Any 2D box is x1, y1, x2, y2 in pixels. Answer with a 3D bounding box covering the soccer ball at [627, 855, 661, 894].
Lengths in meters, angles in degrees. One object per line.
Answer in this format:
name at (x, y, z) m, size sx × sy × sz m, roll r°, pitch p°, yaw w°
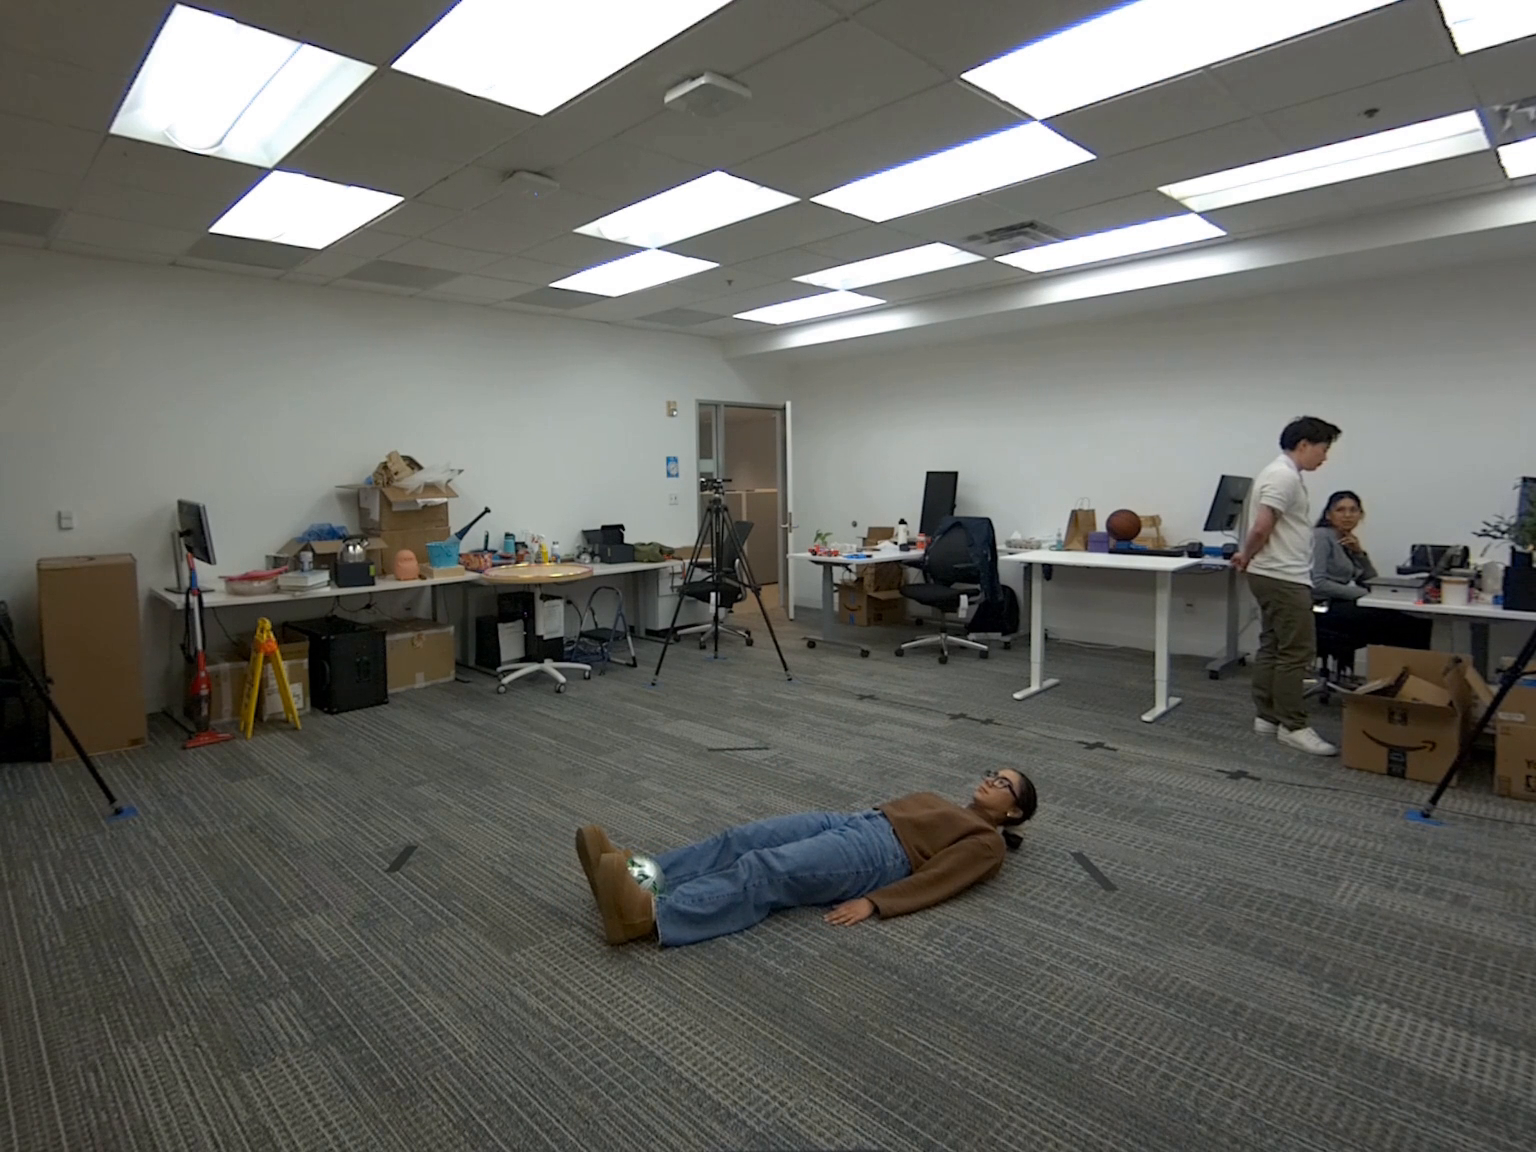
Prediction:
soccer ball at (-0.415, 0.995, 2.723) m, size 0.187 × 0.187 × 0.188 m, roll -1°, pitch 5°, yaw -2°
